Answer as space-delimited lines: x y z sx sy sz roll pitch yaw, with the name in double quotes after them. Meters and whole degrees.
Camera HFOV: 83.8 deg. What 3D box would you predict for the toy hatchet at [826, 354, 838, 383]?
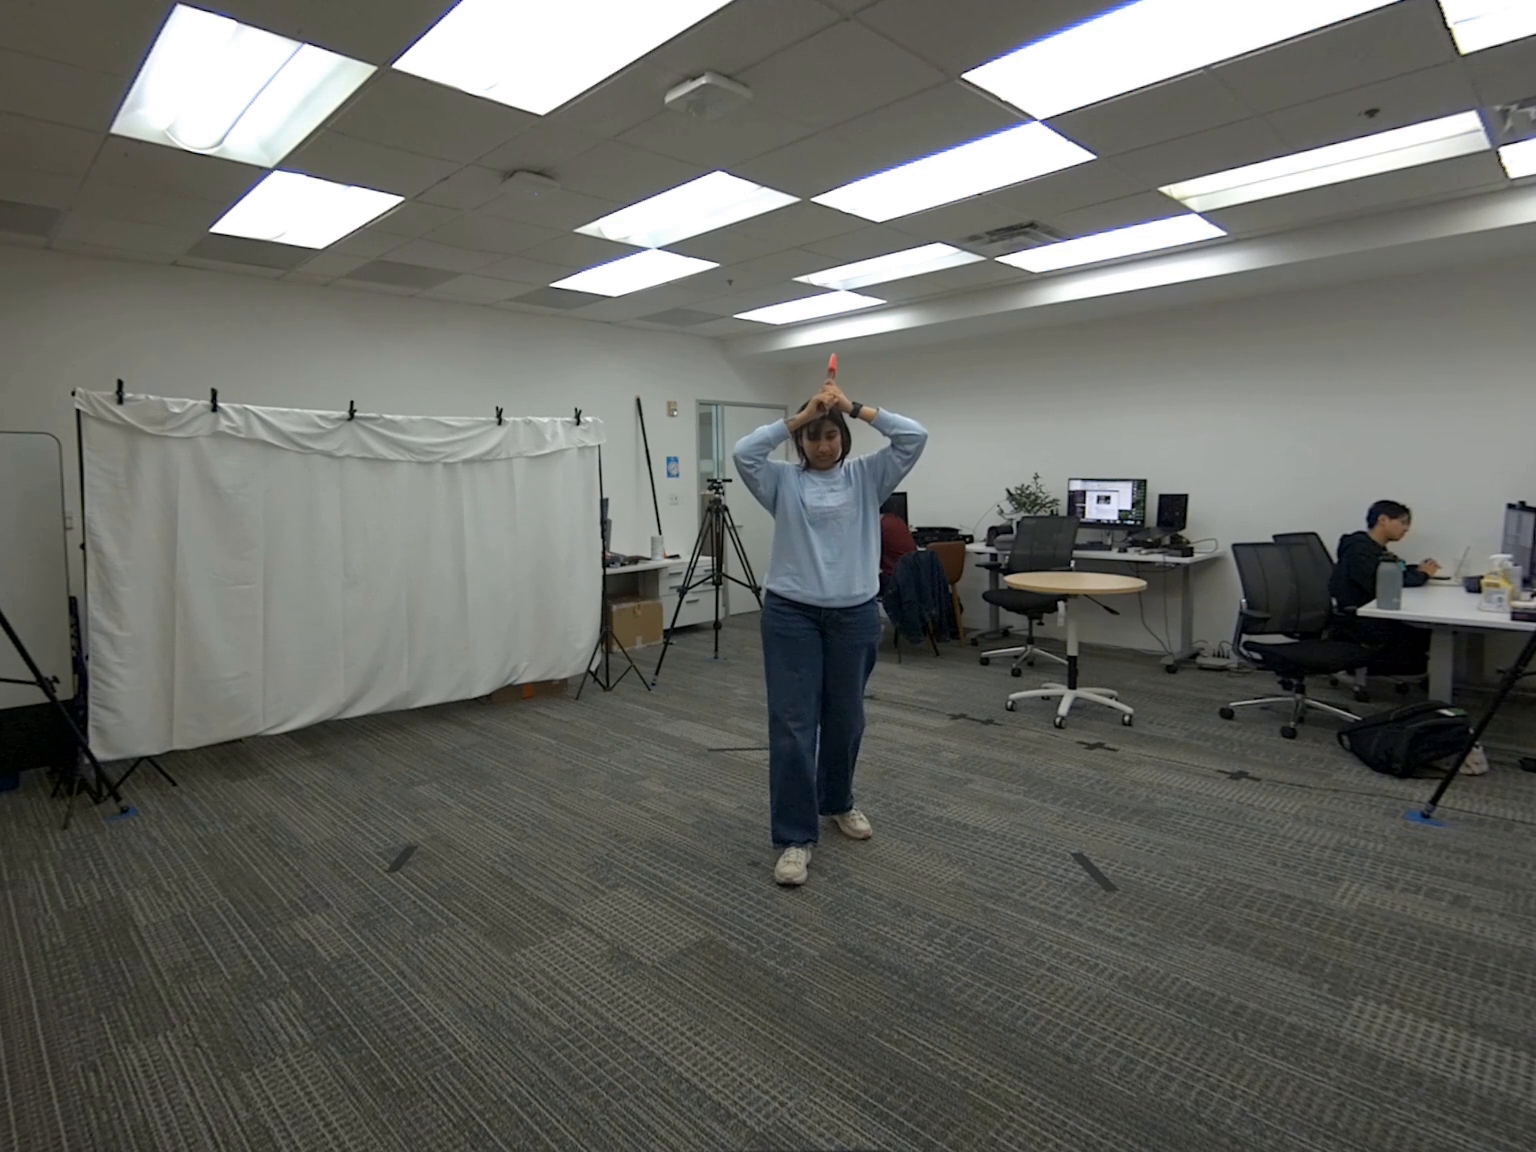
0.218 -0.681 2.973 0.030 0.128 0.275 11 37 1 "toy hatchet"
